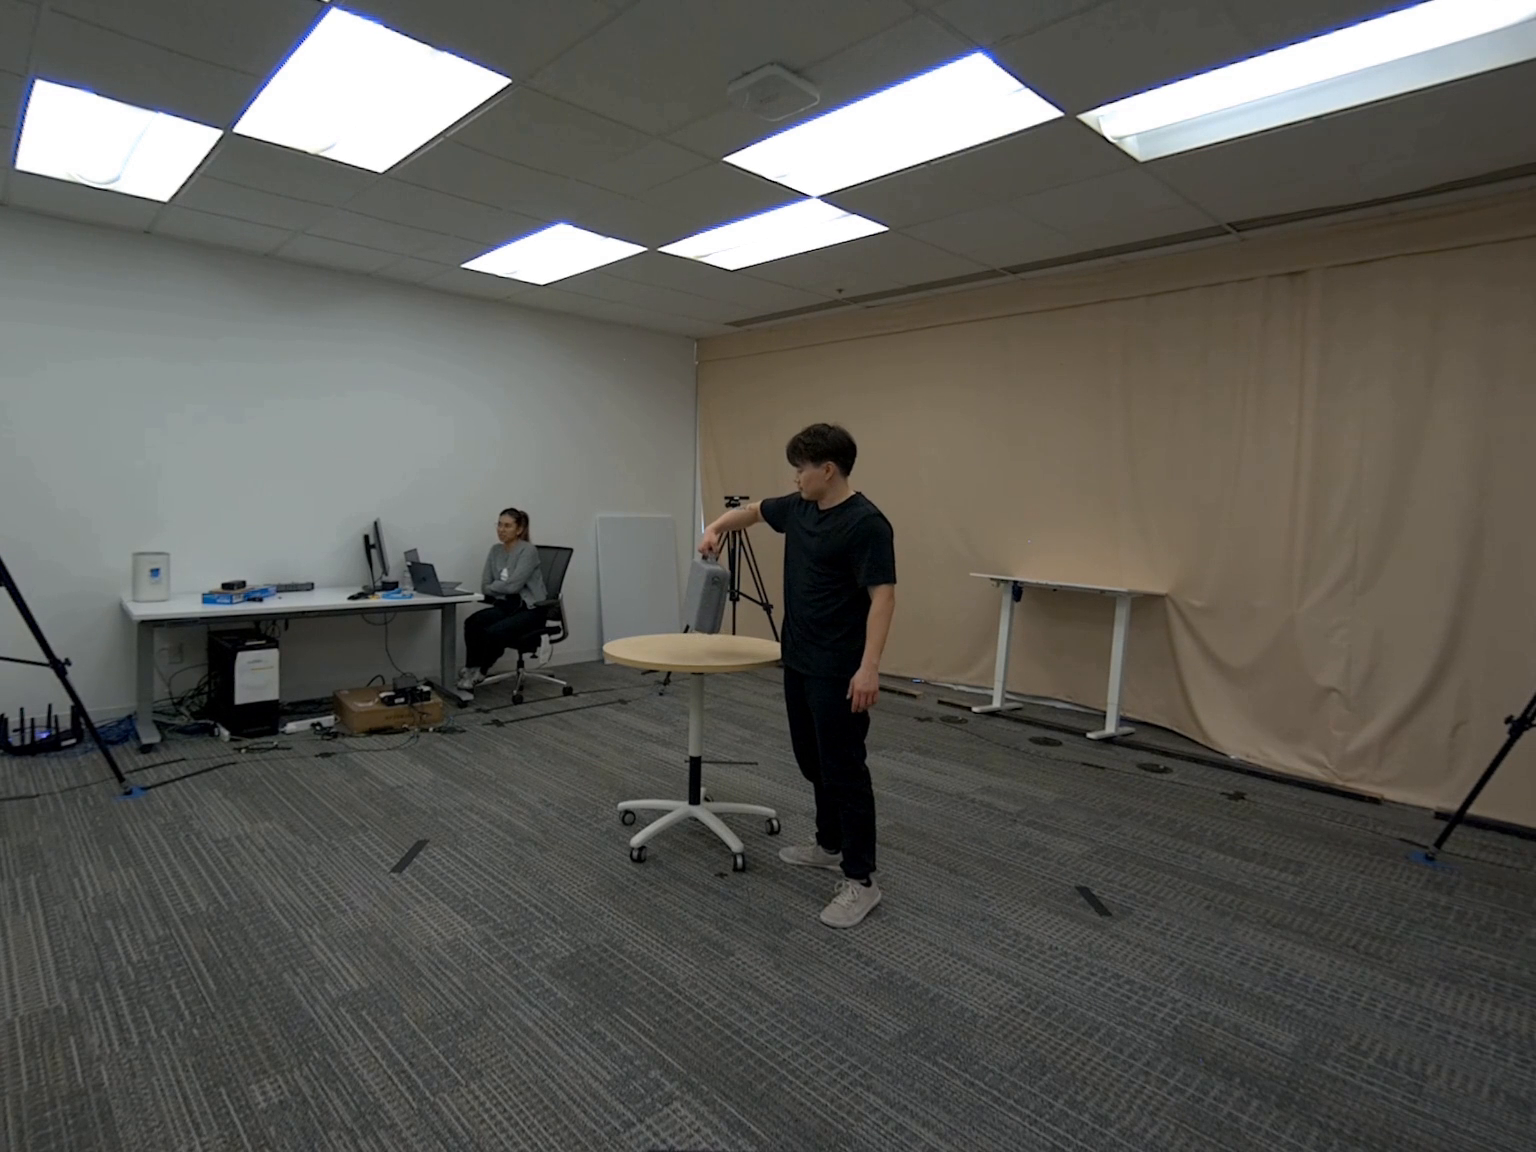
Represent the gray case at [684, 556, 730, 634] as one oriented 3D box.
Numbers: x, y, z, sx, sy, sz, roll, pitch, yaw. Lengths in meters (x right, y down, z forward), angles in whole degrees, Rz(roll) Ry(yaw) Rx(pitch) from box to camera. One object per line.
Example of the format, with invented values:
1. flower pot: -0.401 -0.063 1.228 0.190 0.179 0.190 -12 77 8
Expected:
1. gray case: -0.236 0.073 3.172 0.103 0.260 0.261 8 3 -19
